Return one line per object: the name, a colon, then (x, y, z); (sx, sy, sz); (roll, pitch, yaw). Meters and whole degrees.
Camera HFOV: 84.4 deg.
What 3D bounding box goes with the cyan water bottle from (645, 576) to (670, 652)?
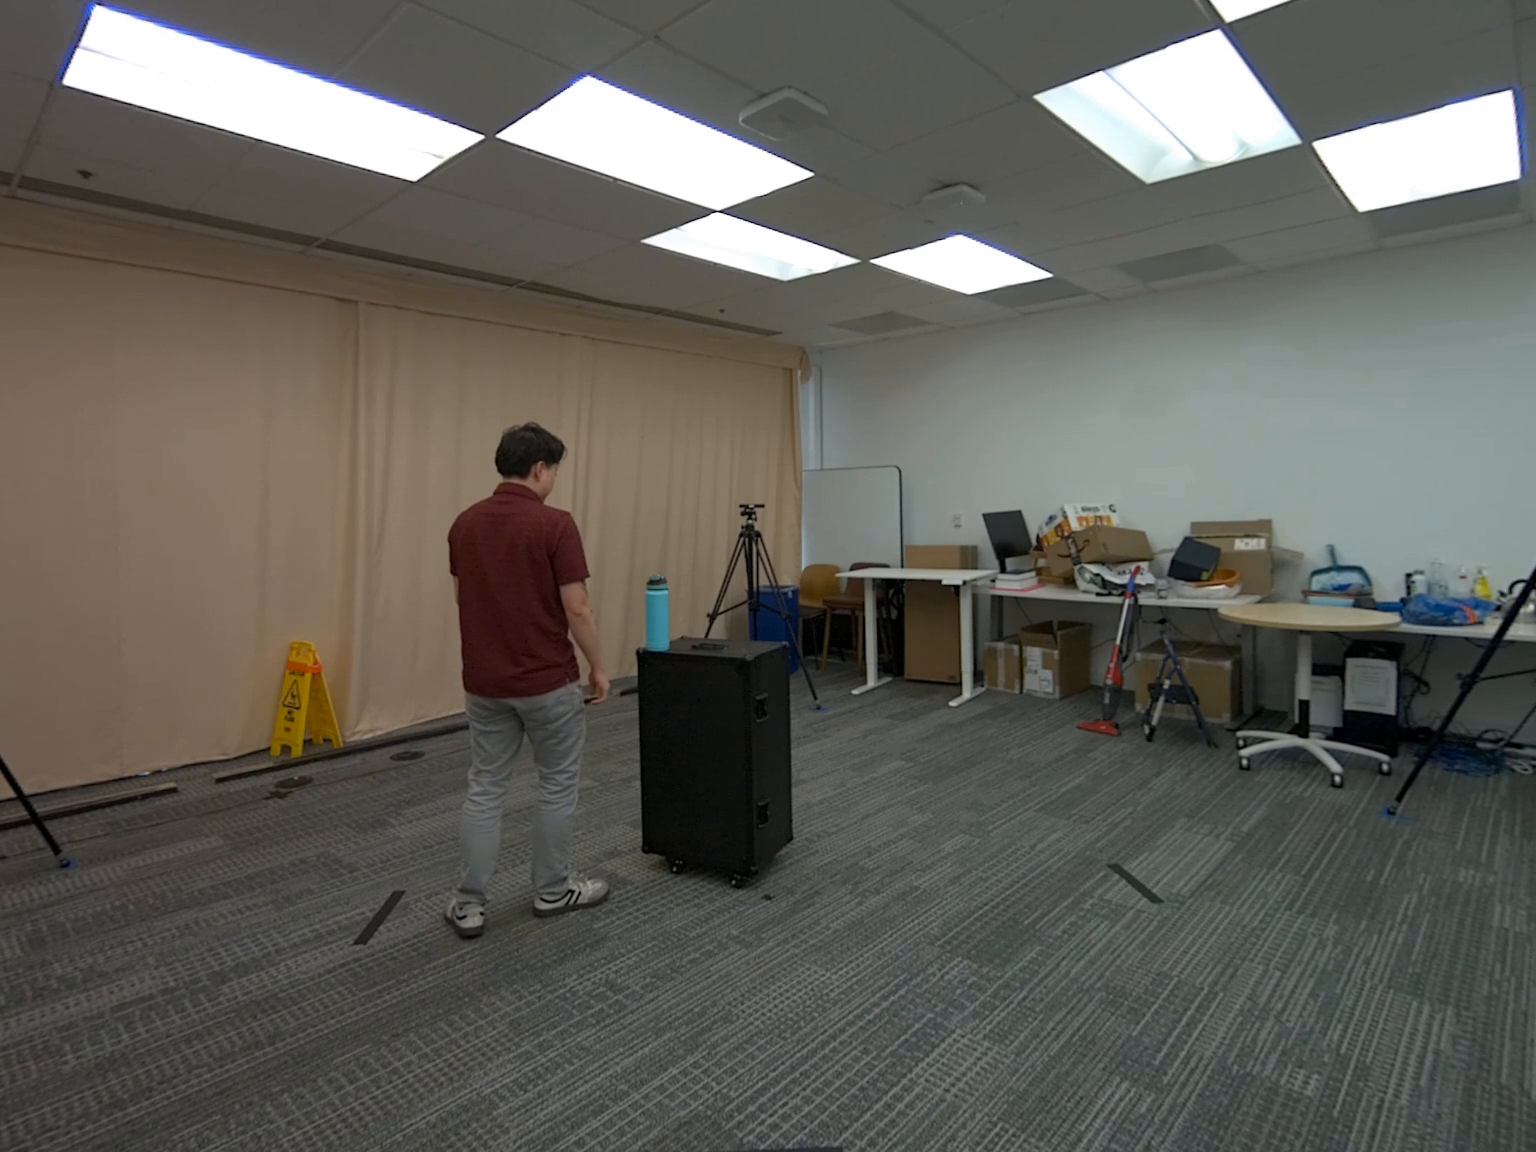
cyan water bottle: (-0.415, 0.136, 3.190); (0.092, 0.282, 0.093); (-2, 4, -2)
